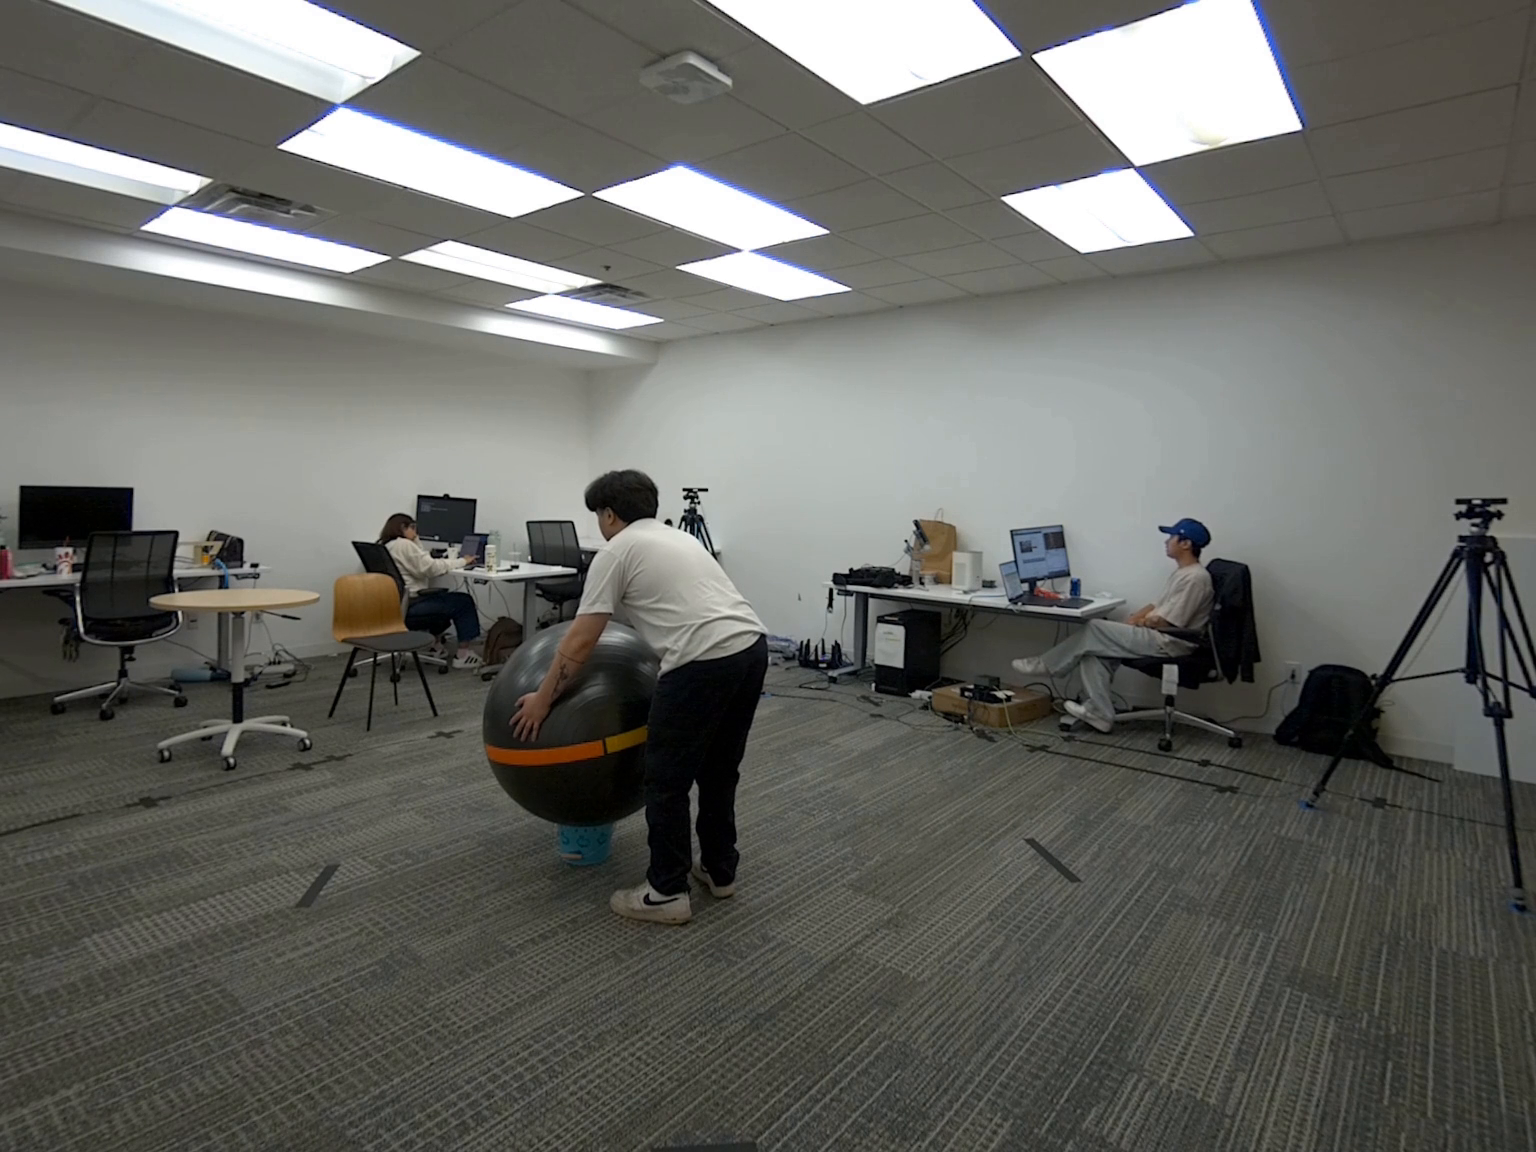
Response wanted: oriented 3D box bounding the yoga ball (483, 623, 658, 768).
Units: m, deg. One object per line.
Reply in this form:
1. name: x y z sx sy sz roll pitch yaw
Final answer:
1. yoga ball: -0.690 0.544 3.192 0.757 0.755 0.762 1 4 -2
